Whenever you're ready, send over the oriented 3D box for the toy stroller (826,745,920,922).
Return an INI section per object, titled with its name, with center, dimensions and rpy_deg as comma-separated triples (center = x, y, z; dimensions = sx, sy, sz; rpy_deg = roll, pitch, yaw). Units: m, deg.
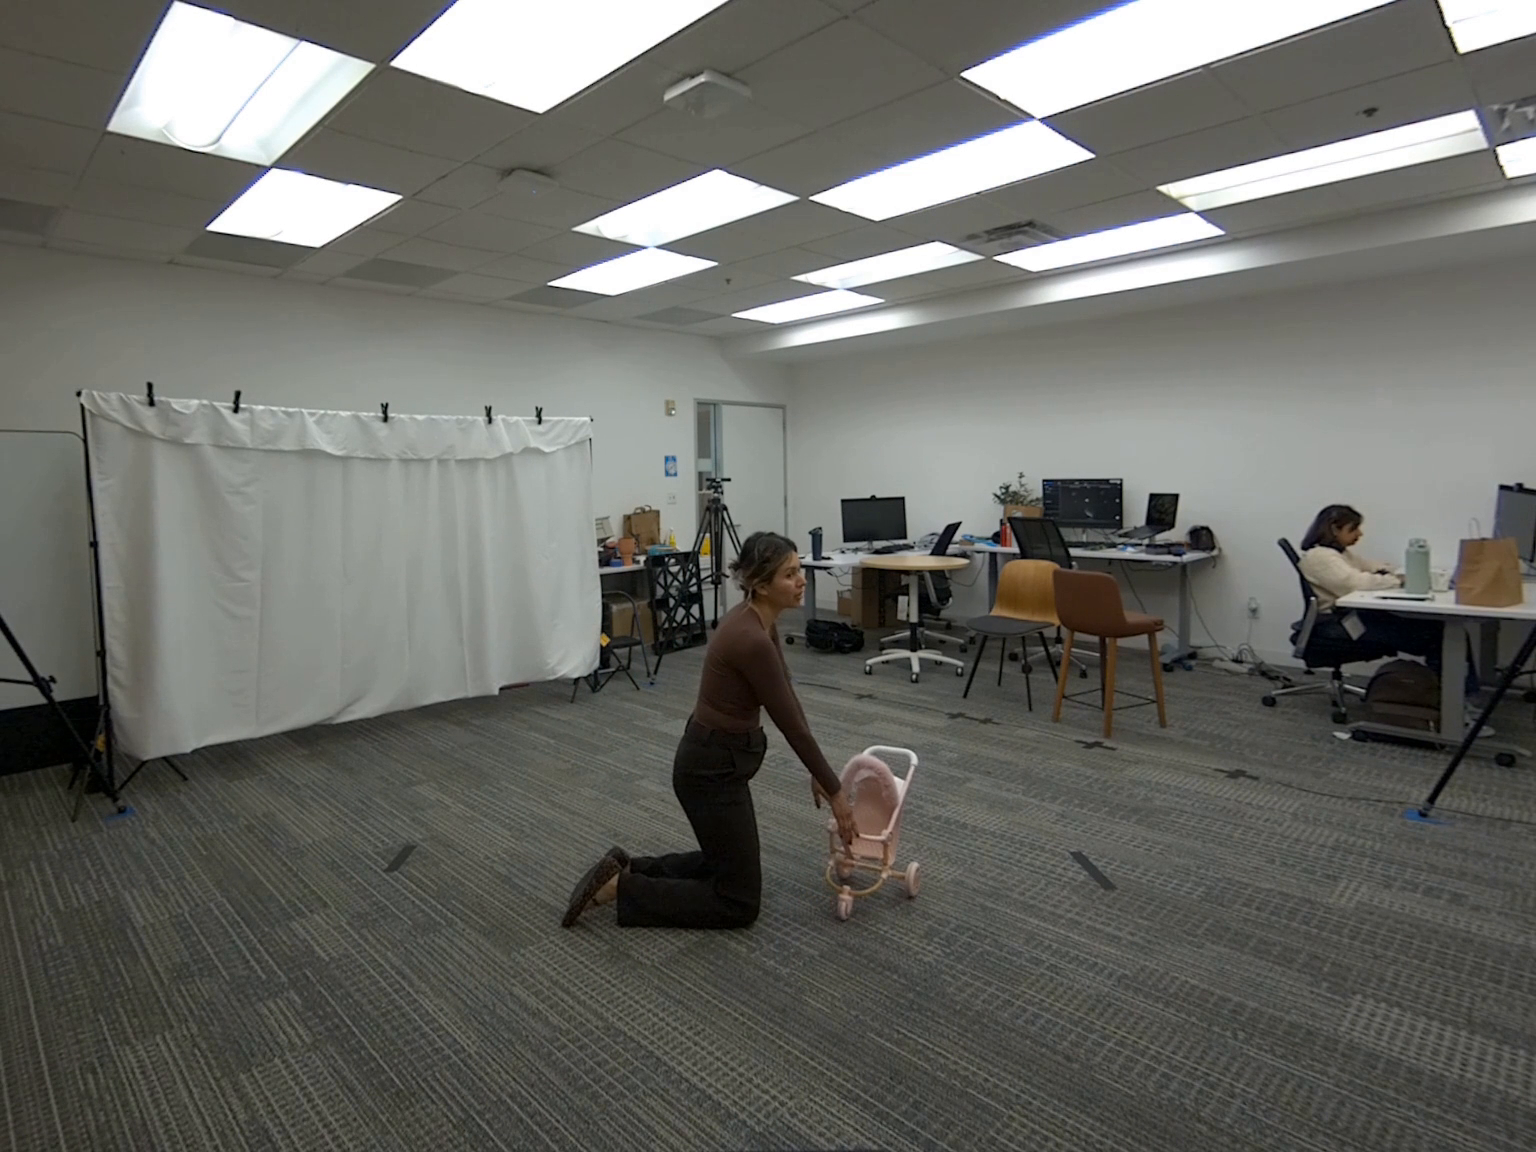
[toy stroller]
center = 0.334, 0.836, 2.847
dimensions = 0.289, 0.539, 0.329
rpy_deg = 0, -11, 36
